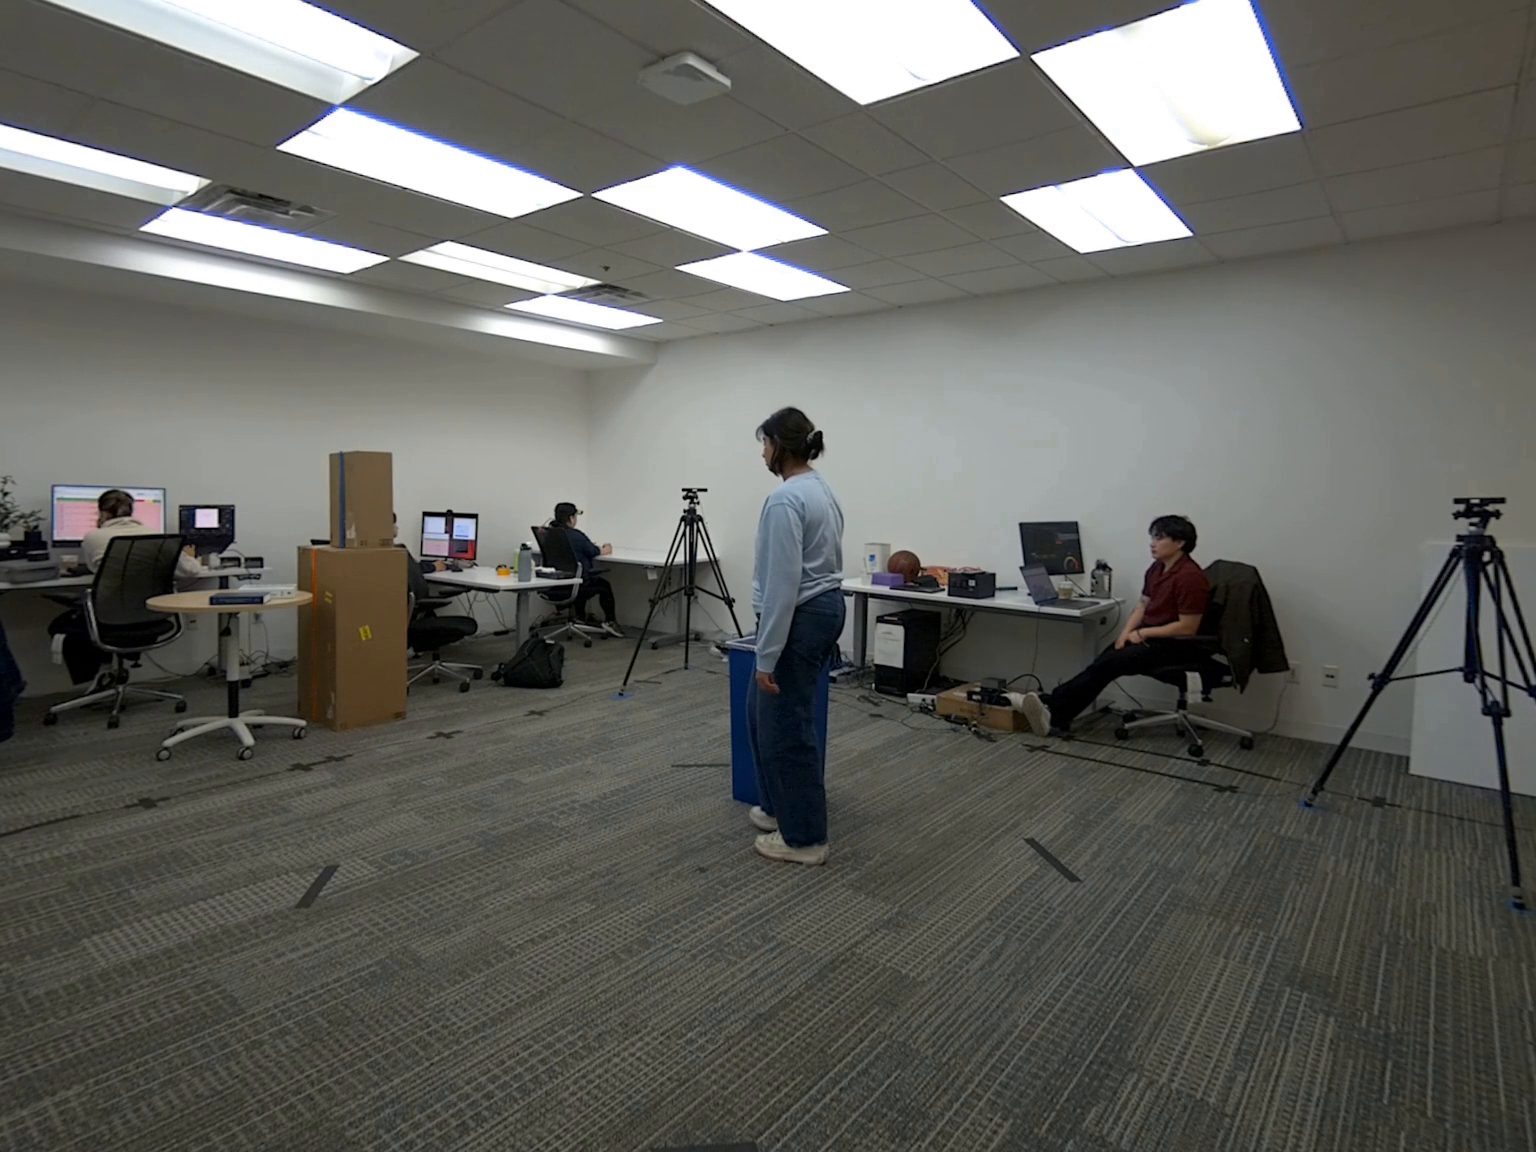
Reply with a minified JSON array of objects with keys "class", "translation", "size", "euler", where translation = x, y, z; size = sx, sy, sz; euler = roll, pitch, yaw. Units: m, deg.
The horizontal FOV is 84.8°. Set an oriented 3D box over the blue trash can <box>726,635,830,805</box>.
[{"class":"blue trash can","translation":[0.033,0.644,3.840],"size":[0.386,0.712,0.366],"euler":[3,3,39]}]
